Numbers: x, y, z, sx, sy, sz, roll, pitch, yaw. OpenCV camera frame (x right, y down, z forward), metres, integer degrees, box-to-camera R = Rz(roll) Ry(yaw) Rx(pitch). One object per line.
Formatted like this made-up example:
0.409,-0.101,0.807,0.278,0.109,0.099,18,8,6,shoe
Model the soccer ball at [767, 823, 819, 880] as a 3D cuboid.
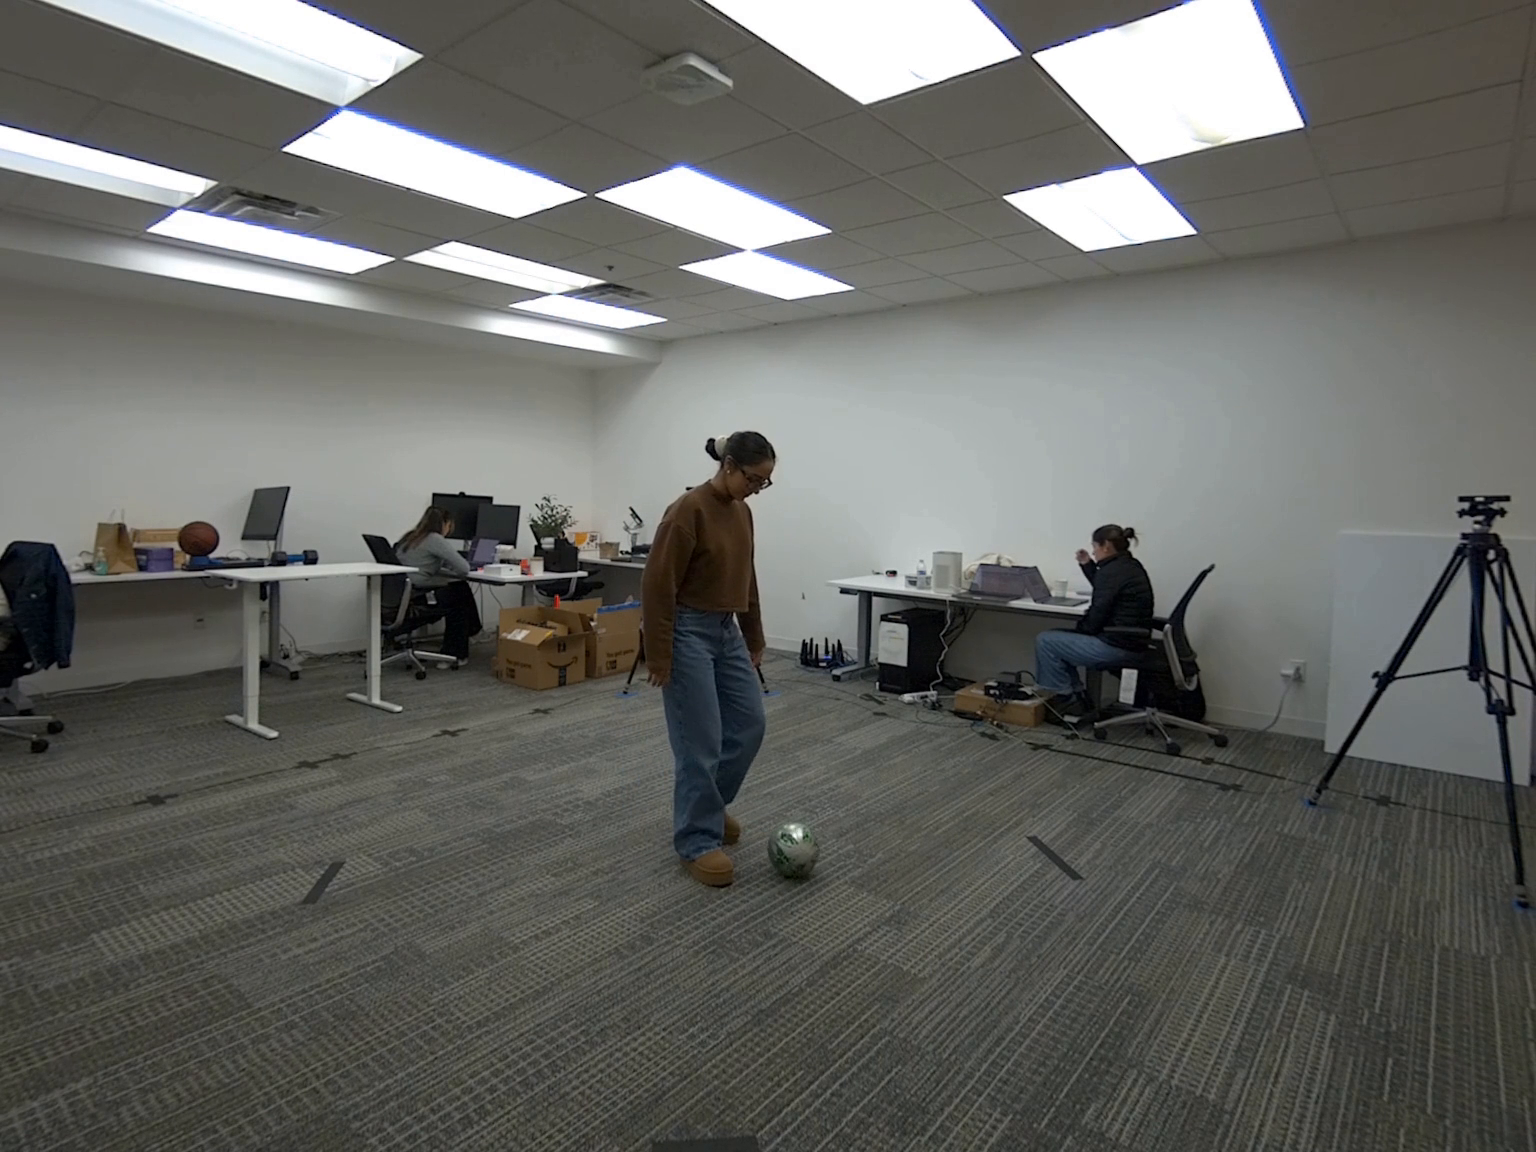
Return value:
0.086,0.985,3.062,0.187,0.187,0.188,1,4,-2,soccer ball
